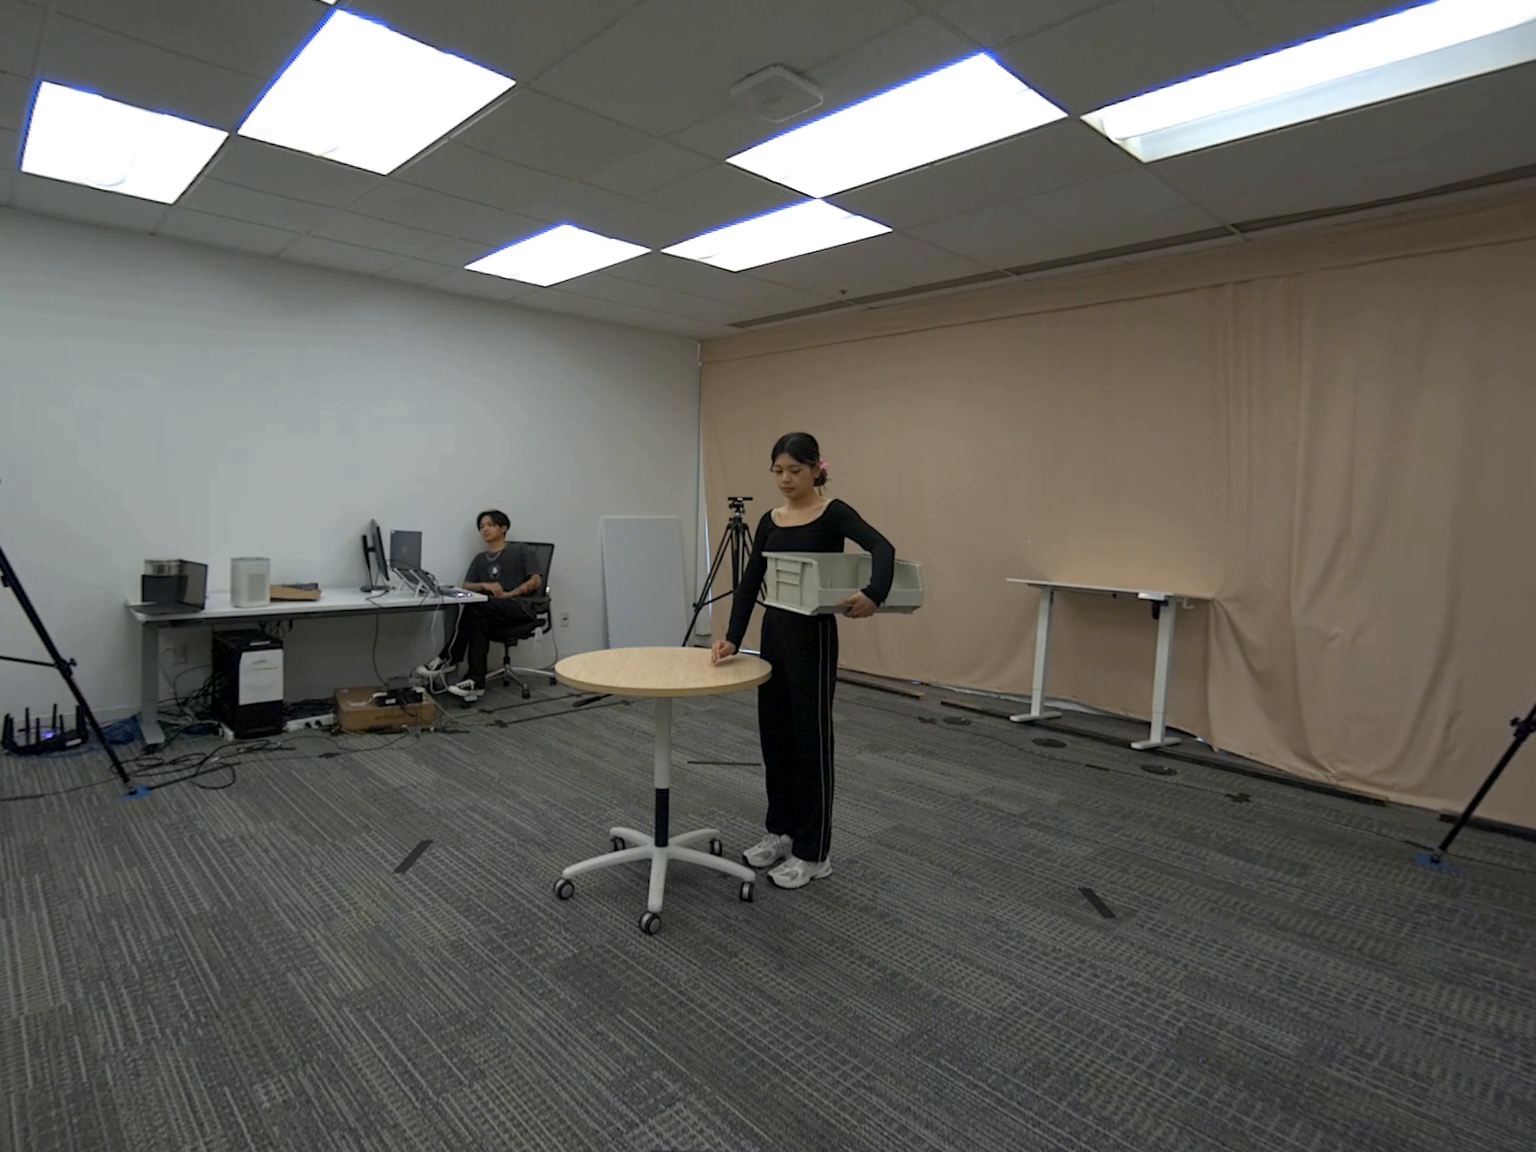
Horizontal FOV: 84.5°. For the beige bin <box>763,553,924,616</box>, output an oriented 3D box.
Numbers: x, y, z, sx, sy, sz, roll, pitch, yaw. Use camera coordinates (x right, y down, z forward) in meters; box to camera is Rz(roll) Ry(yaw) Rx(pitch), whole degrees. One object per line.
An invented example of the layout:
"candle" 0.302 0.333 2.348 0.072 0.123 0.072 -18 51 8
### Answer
"beige bin" 0.249 0.028 2.864 0.414 0.188 0.385 0 5 -26
